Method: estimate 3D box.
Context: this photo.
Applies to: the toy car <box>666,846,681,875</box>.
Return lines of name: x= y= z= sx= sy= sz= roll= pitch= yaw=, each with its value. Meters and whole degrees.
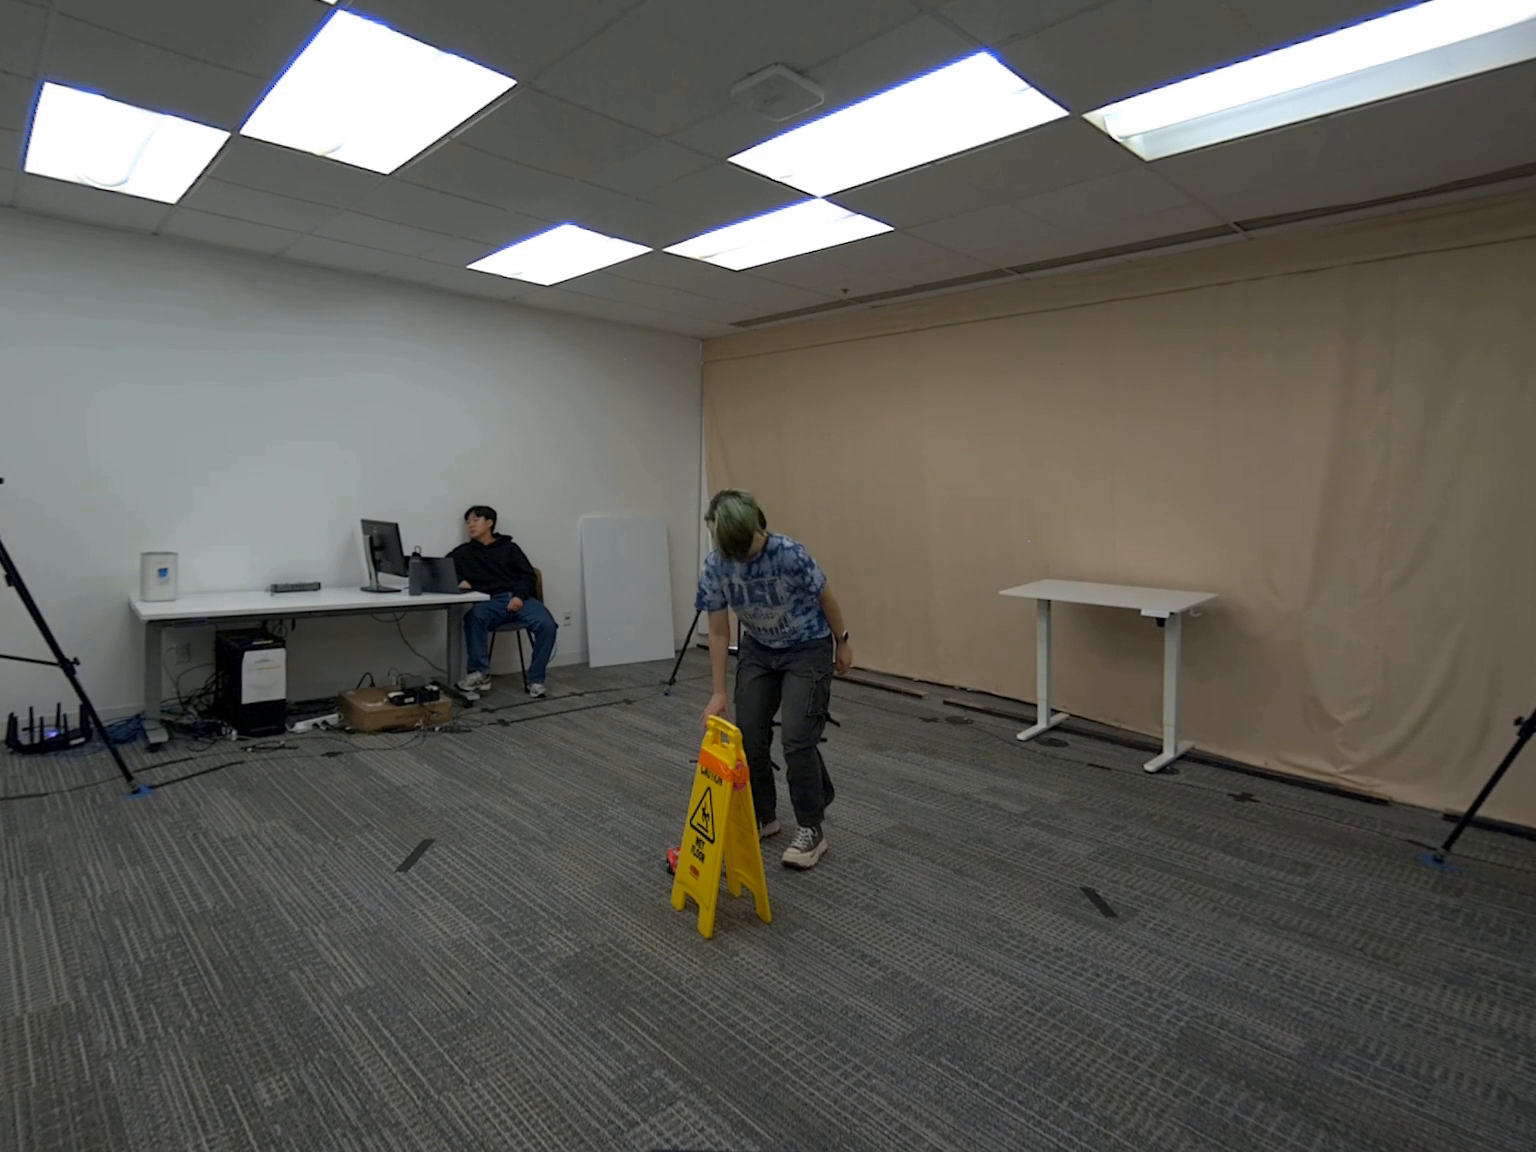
toy car: x=-0.303 y=1.074 z=3.088 sx=0.128 sy=0.082 sz=0.261 roll=0 pitch=18 yaw=-23
